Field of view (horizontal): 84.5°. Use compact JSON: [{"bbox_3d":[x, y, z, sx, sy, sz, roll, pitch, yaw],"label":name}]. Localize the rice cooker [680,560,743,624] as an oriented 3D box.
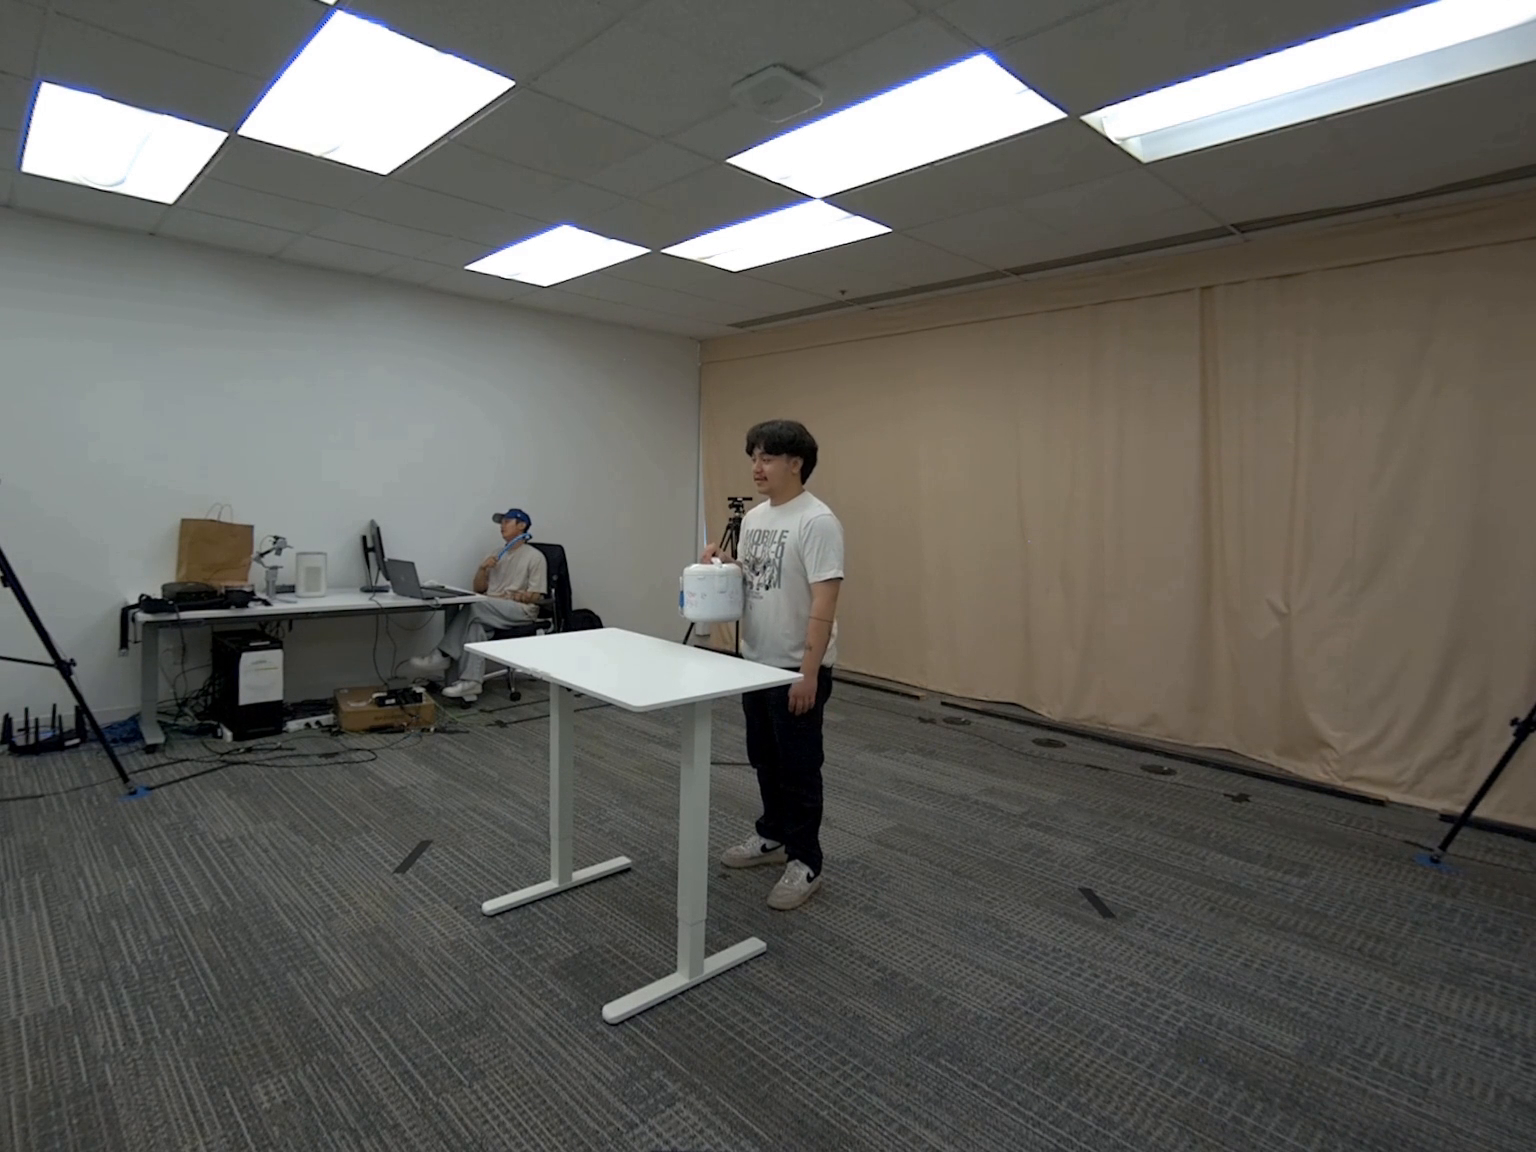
[{"bbox_3d":[-0.201,0.049,3.006,0.214,0.232,0.224,-1,2,-19],"label":"rice cooker"}]
